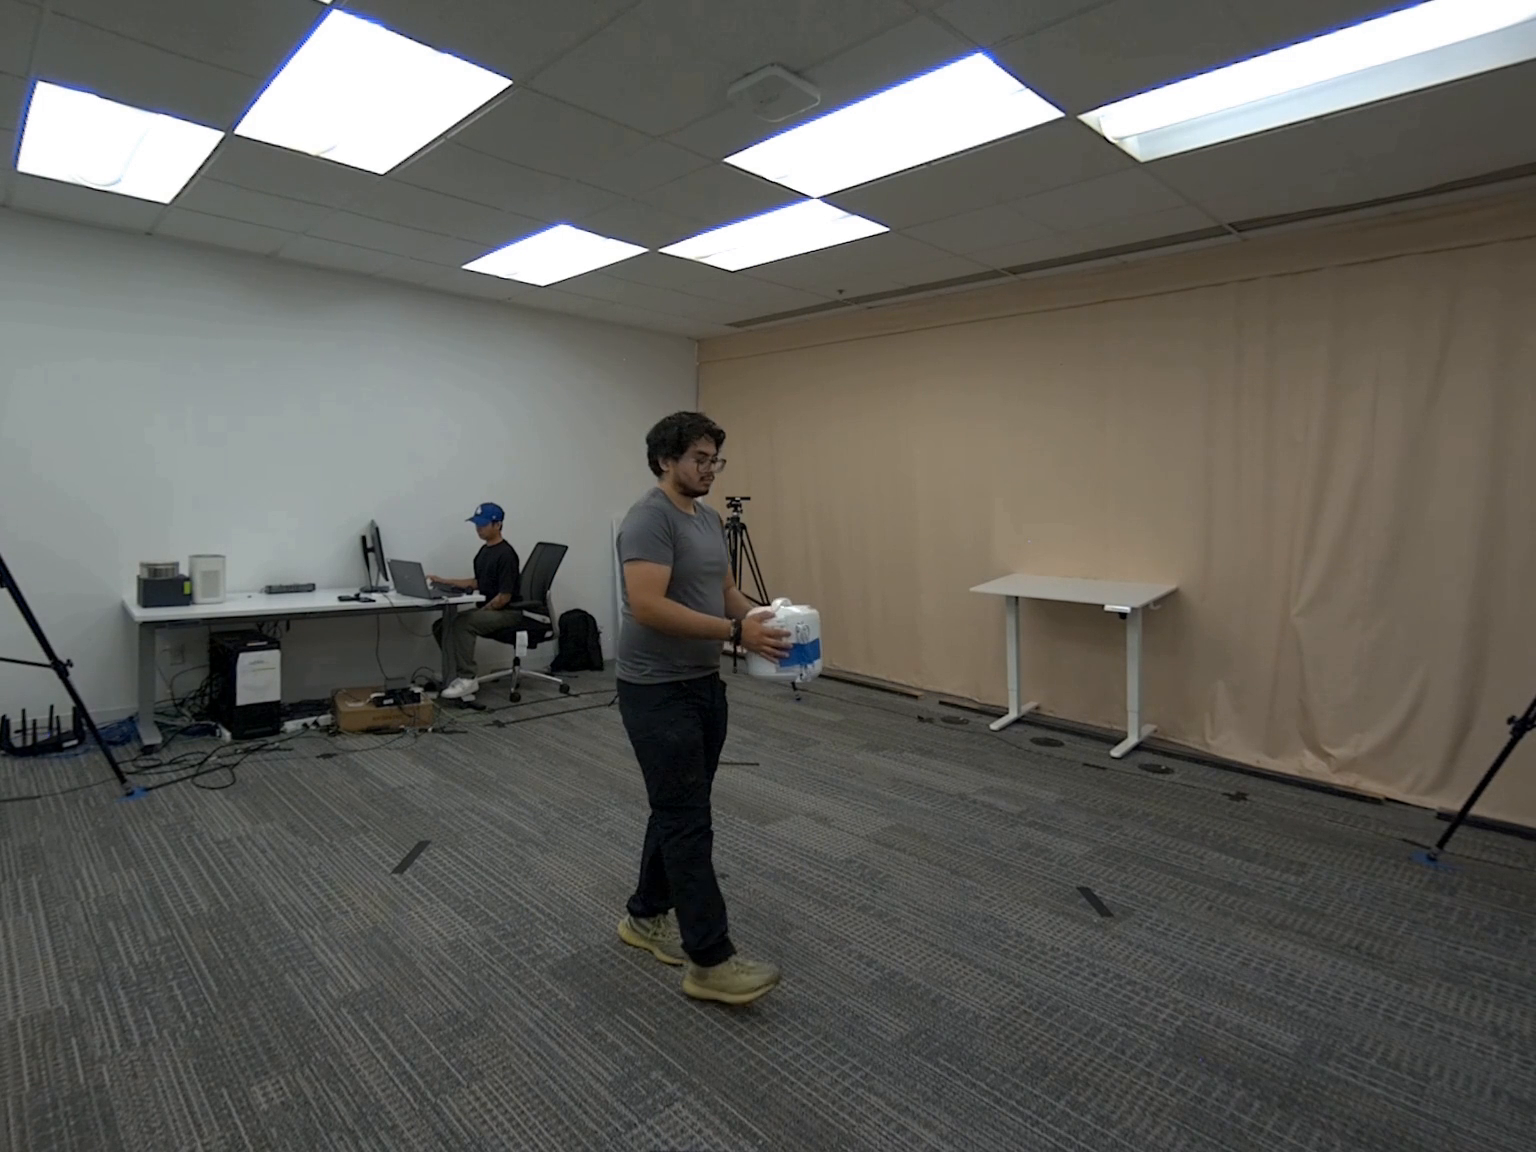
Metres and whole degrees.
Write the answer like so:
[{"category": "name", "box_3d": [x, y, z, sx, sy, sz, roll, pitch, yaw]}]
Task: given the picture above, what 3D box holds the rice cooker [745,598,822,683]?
[{"category": "rice cooker", "box_3d": [0.036, 0.178, 2.370, 0.221, 0.233, 0.217, -2, -2, 20]}]
